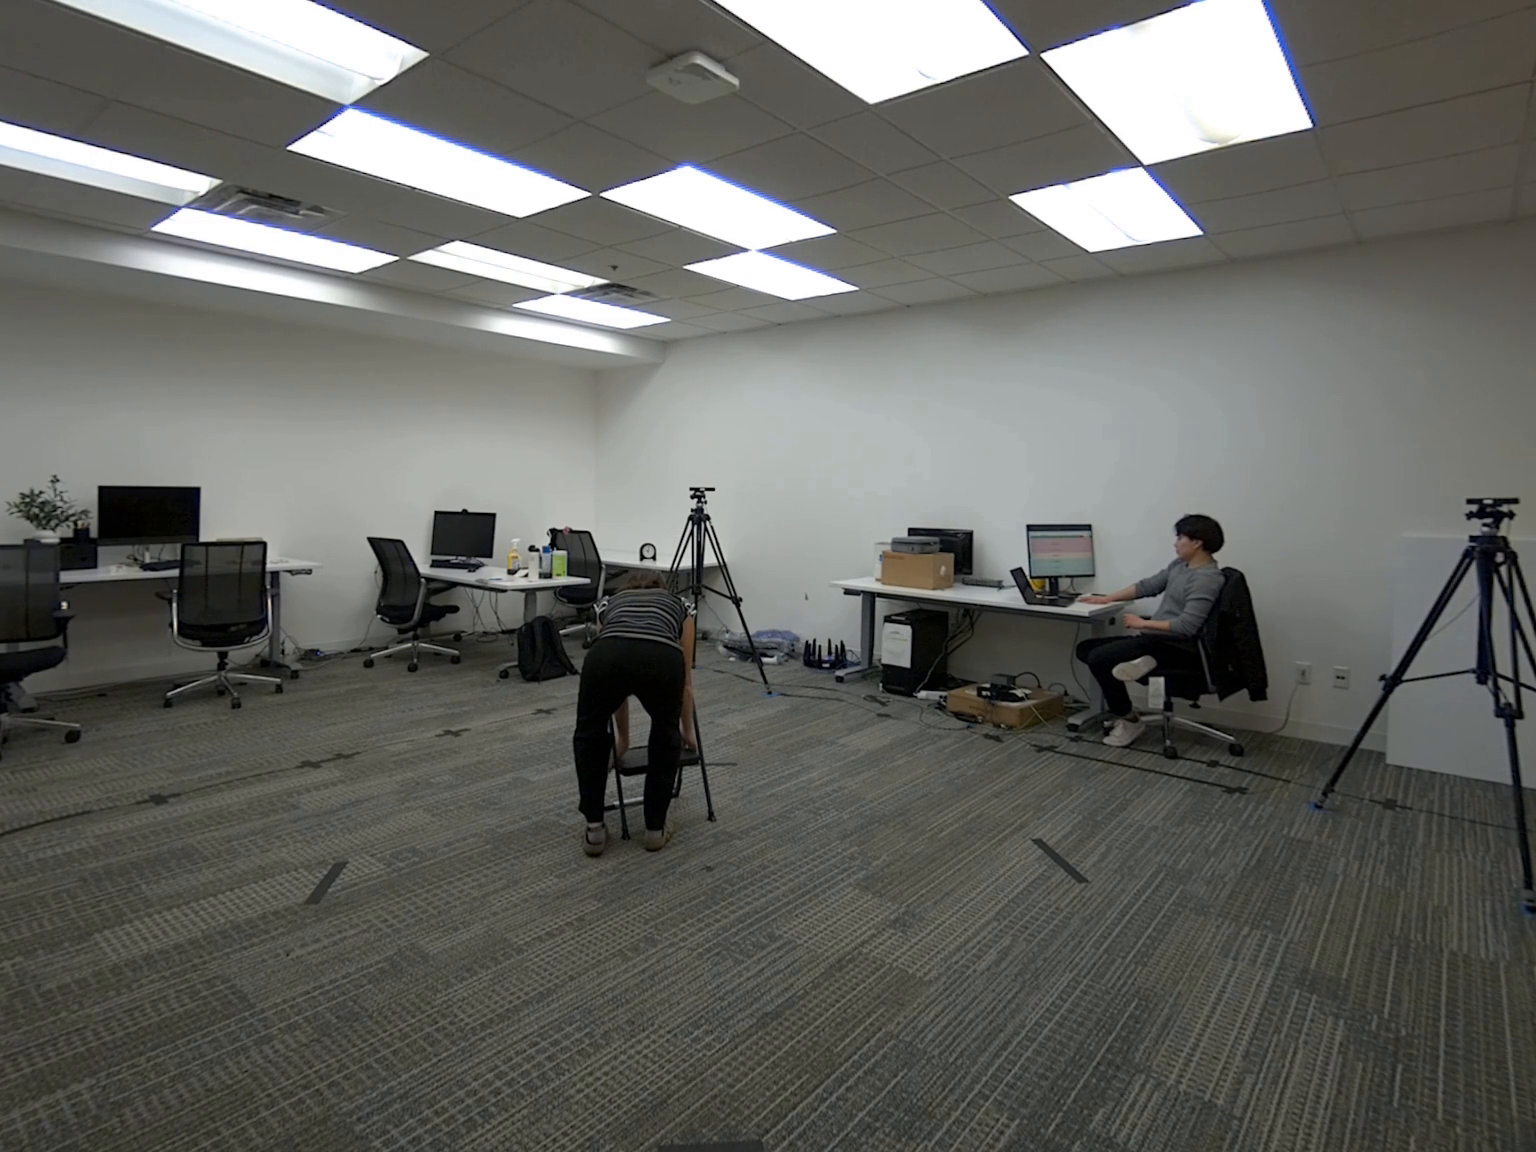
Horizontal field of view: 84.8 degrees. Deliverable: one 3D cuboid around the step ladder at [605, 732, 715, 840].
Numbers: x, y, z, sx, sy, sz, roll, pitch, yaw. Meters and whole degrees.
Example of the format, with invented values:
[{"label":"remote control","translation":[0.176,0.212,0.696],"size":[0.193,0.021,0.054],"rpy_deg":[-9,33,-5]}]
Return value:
[{"label":"step ladder","translation":[-0.488,0.711,3.592],"size":[0.418,0.604,0.360],"rpy_deg":[-1,4,-33]}]
